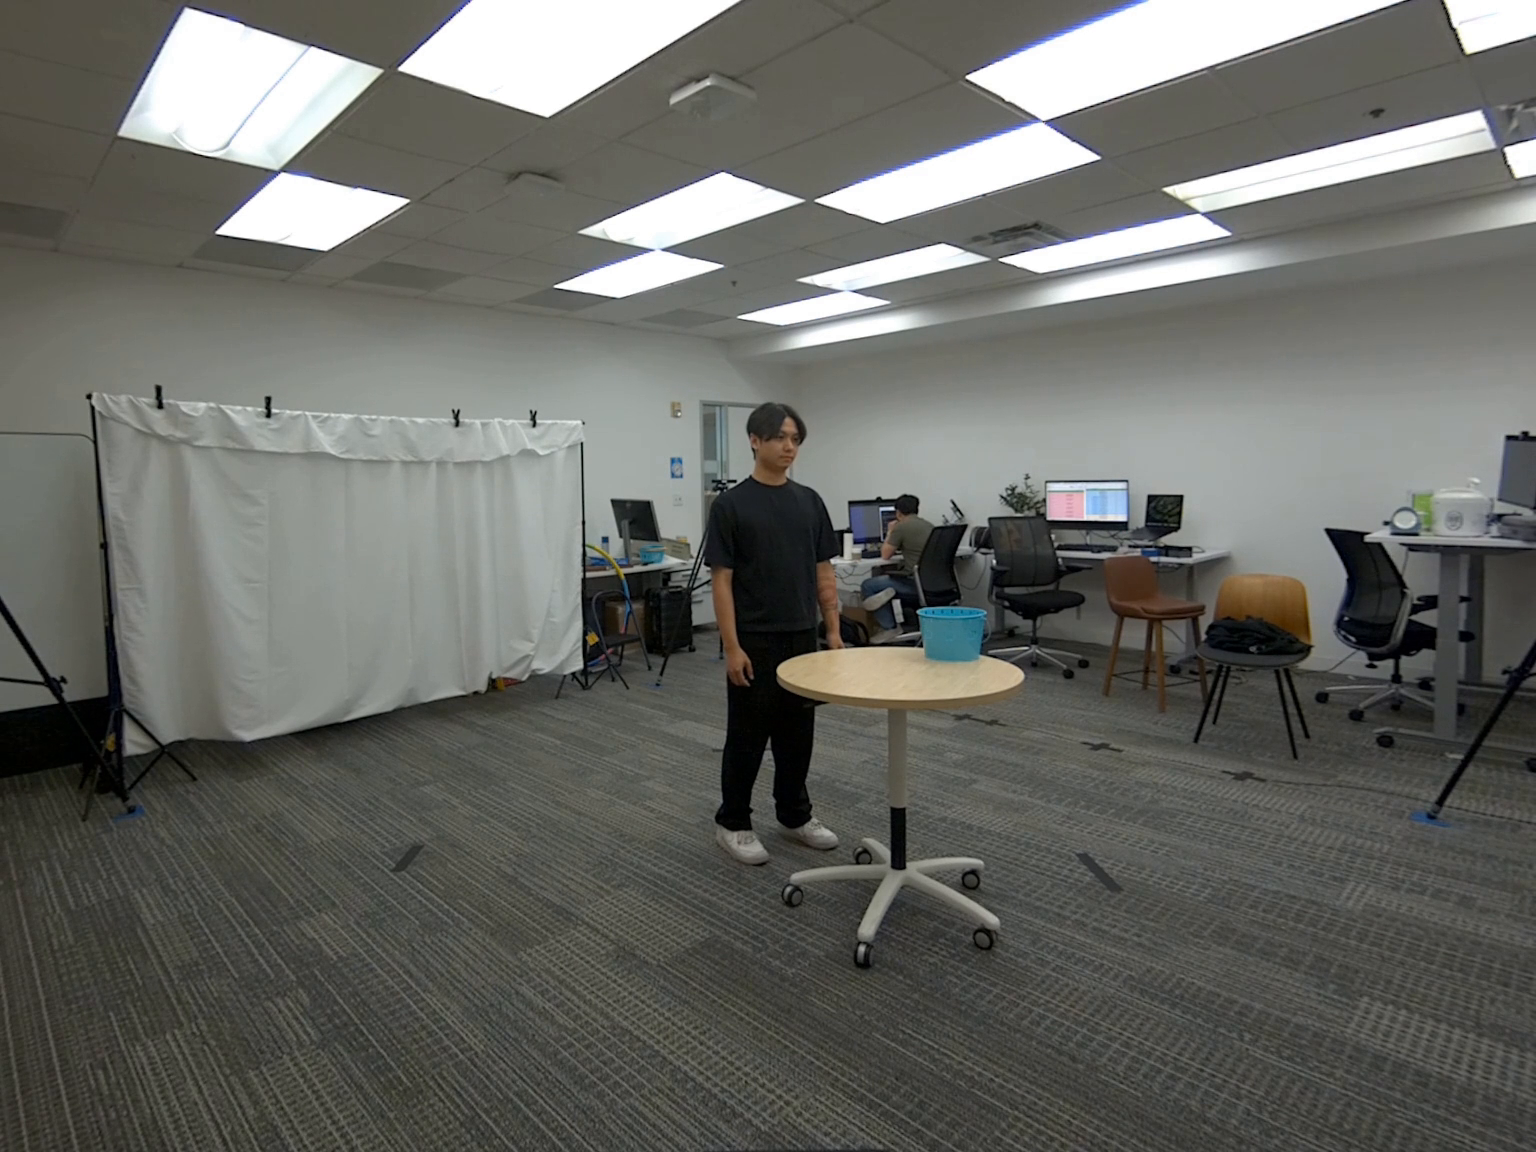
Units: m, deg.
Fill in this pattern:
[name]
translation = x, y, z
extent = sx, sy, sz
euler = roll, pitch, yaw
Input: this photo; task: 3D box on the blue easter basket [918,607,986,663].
[blue easter basket]
translation = 0.652, 0.204, 2.899
extent = 0.243, 0.155, 0.245
euler = -1, 6, -2
